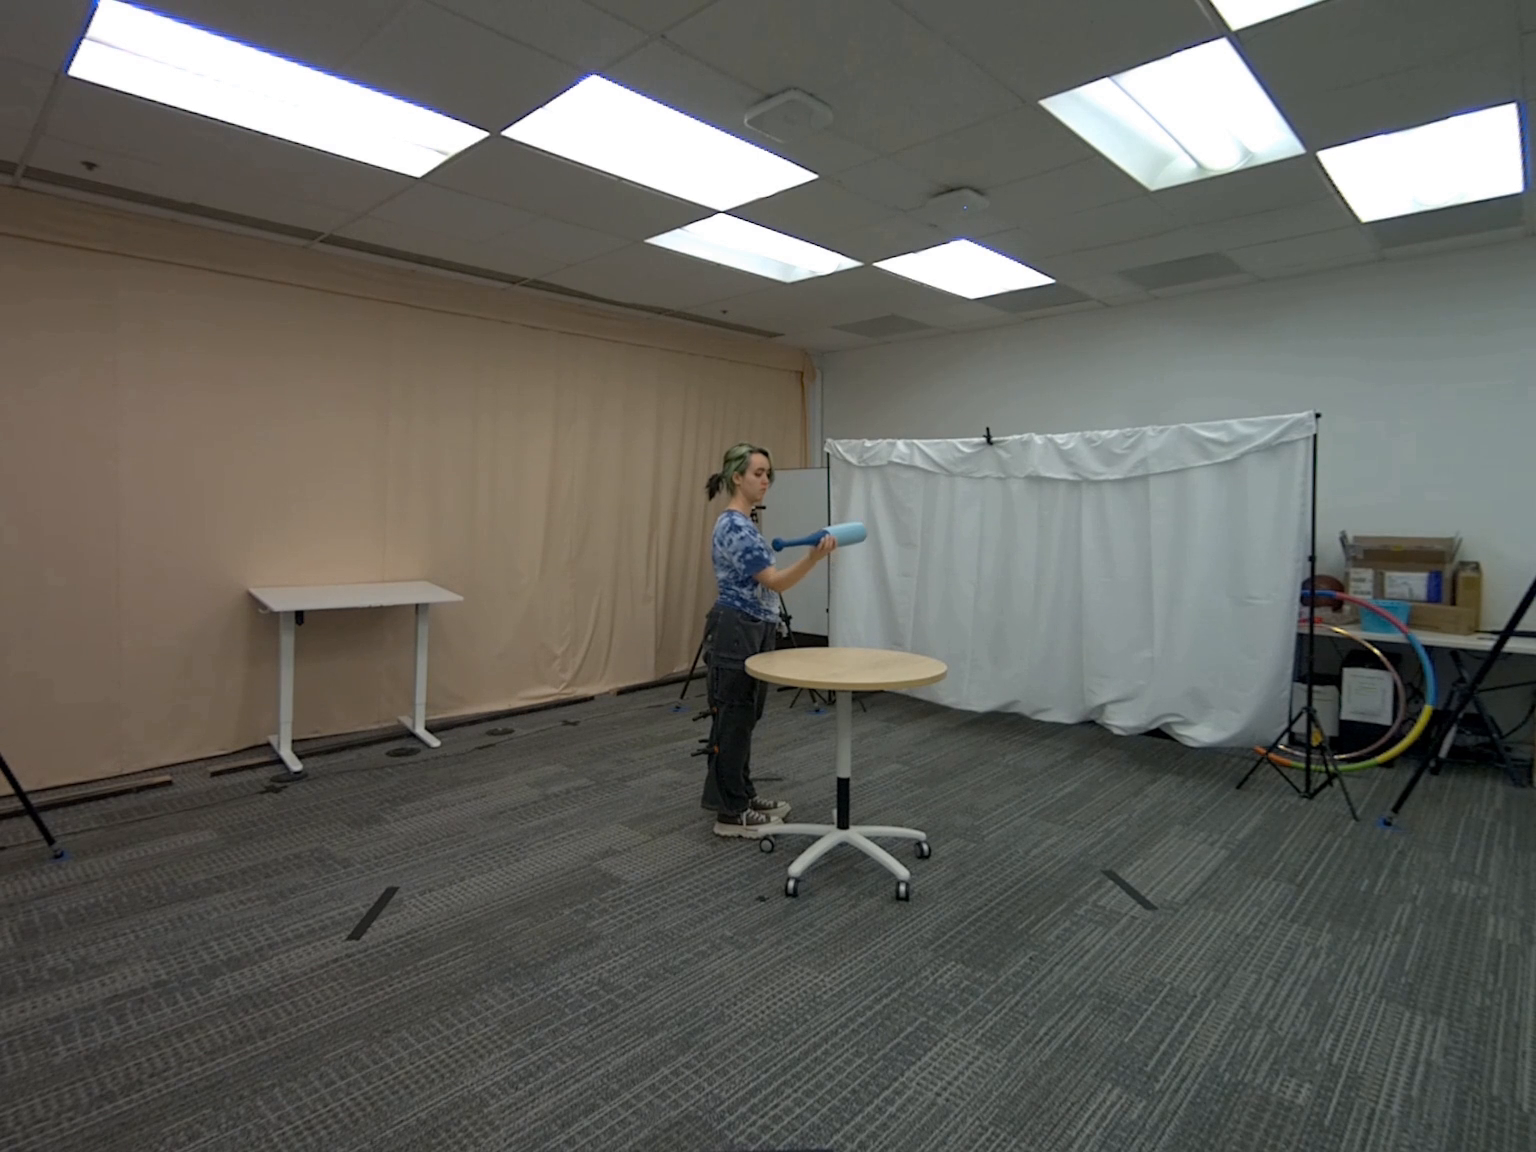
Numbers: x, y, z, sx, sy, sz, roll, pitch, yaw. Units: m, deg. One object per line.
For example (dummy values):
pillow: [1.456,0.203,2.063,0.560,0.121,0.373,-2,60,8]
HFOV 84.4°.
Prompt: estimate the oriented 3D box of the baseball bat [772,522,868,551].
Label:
baseball bat: [0.199,-0.136,3.196,0.092,0.088,0.528,3,11,41]
